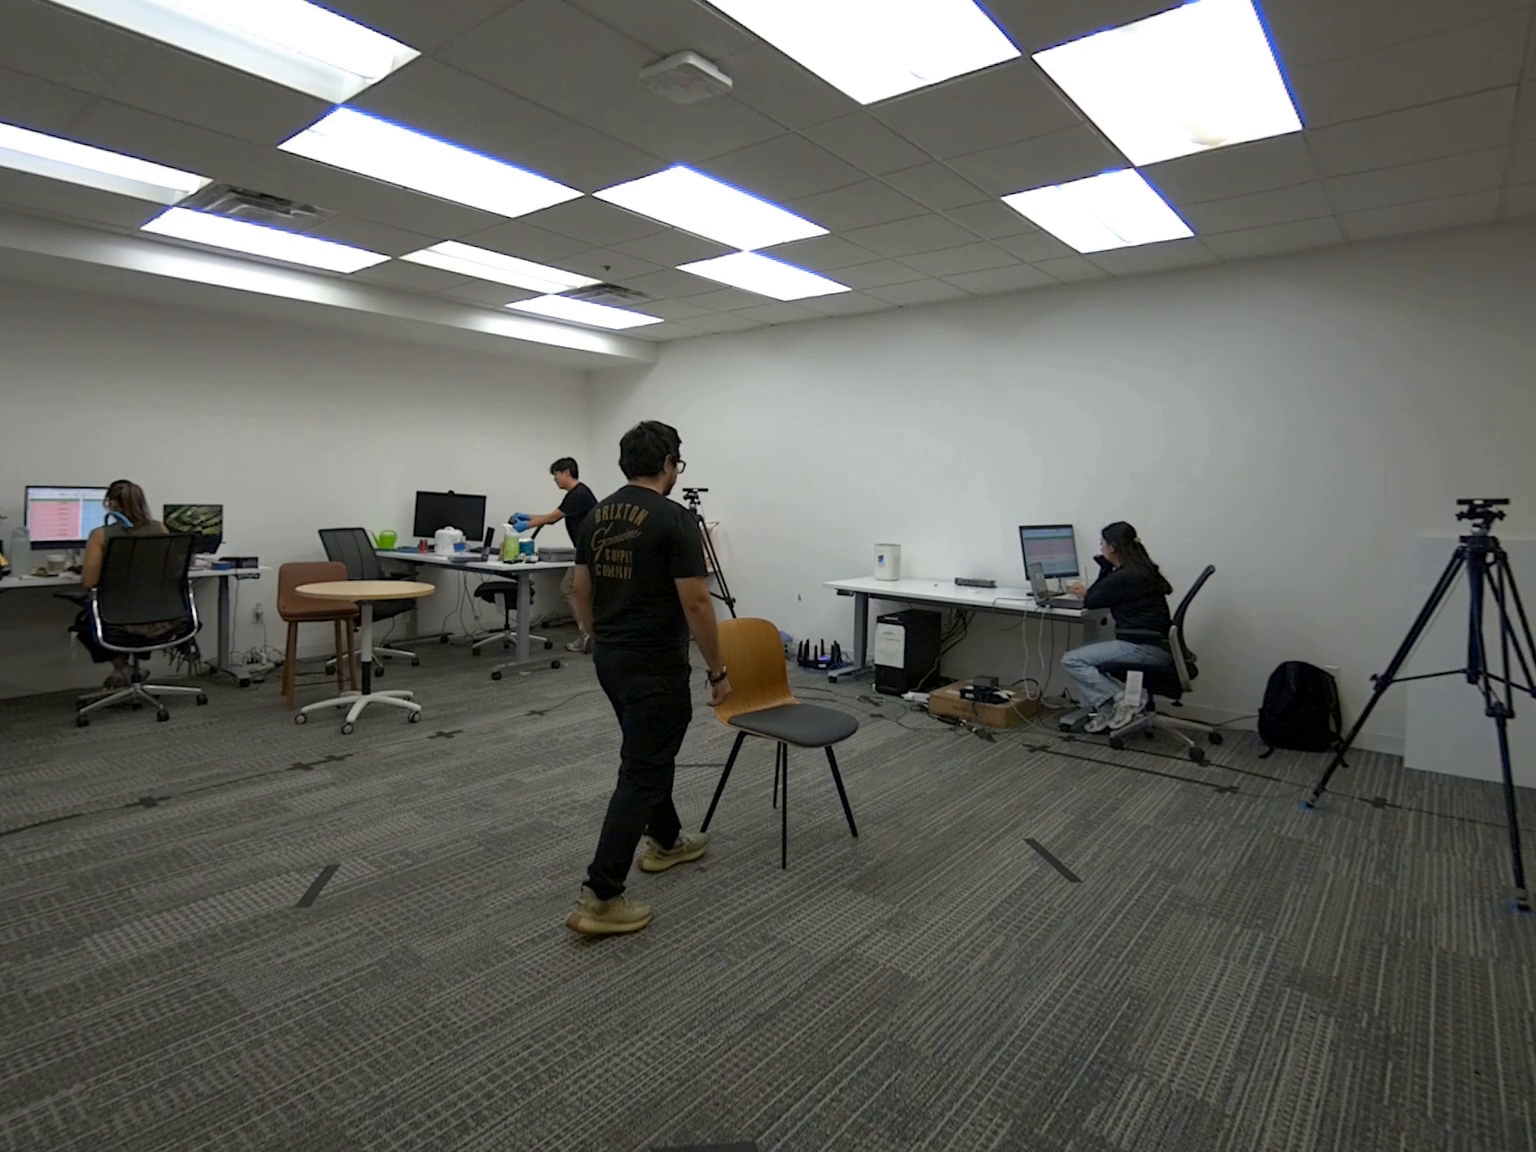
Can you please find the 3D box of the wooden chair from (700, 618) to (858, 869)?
[{"bbox_3d":[0.053,0.616,3.401,0.539,0.878,0.463,-2,0,44],"label":"wooden chair"}]
